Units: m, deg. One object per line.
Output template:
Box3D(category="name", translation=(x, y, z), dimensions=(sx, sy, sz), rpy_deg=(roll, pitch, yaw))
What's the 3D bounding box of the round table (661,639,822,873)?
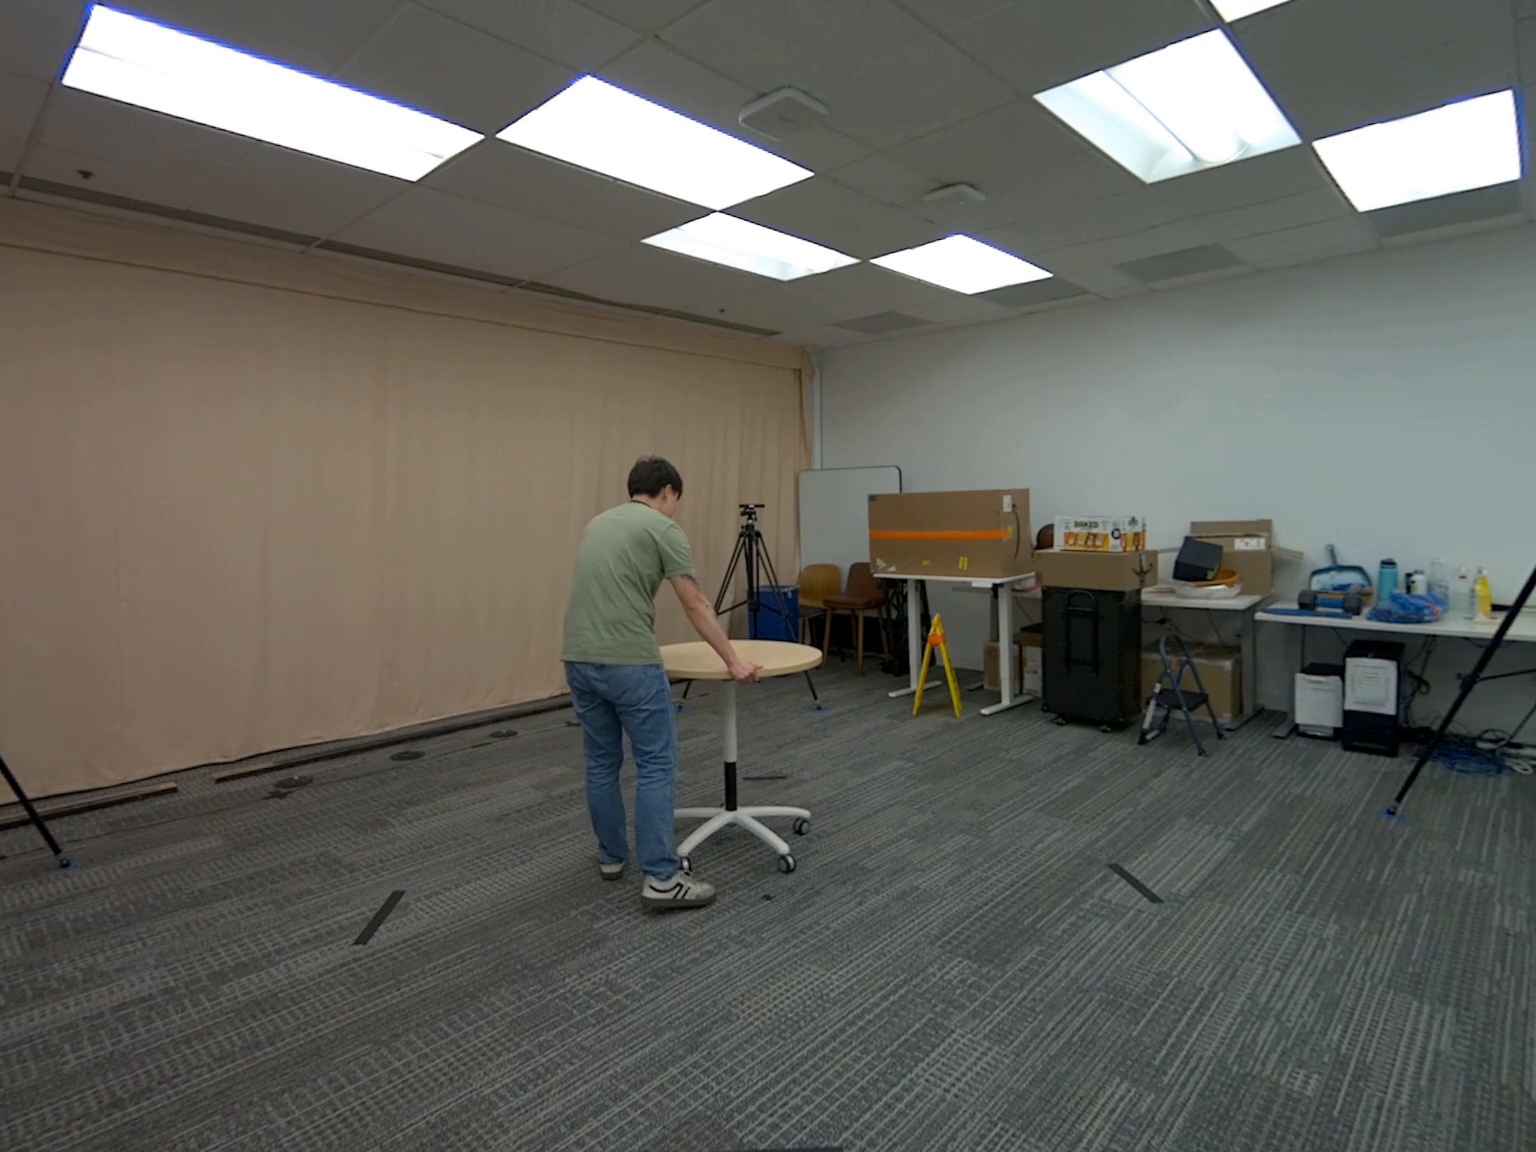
Box3D(category="round table", translation=(-0.151, 0.713, 3.448), dimensions=(0.763, 0.792, 0.766), rpy_deg=(-1, 3, -2))
